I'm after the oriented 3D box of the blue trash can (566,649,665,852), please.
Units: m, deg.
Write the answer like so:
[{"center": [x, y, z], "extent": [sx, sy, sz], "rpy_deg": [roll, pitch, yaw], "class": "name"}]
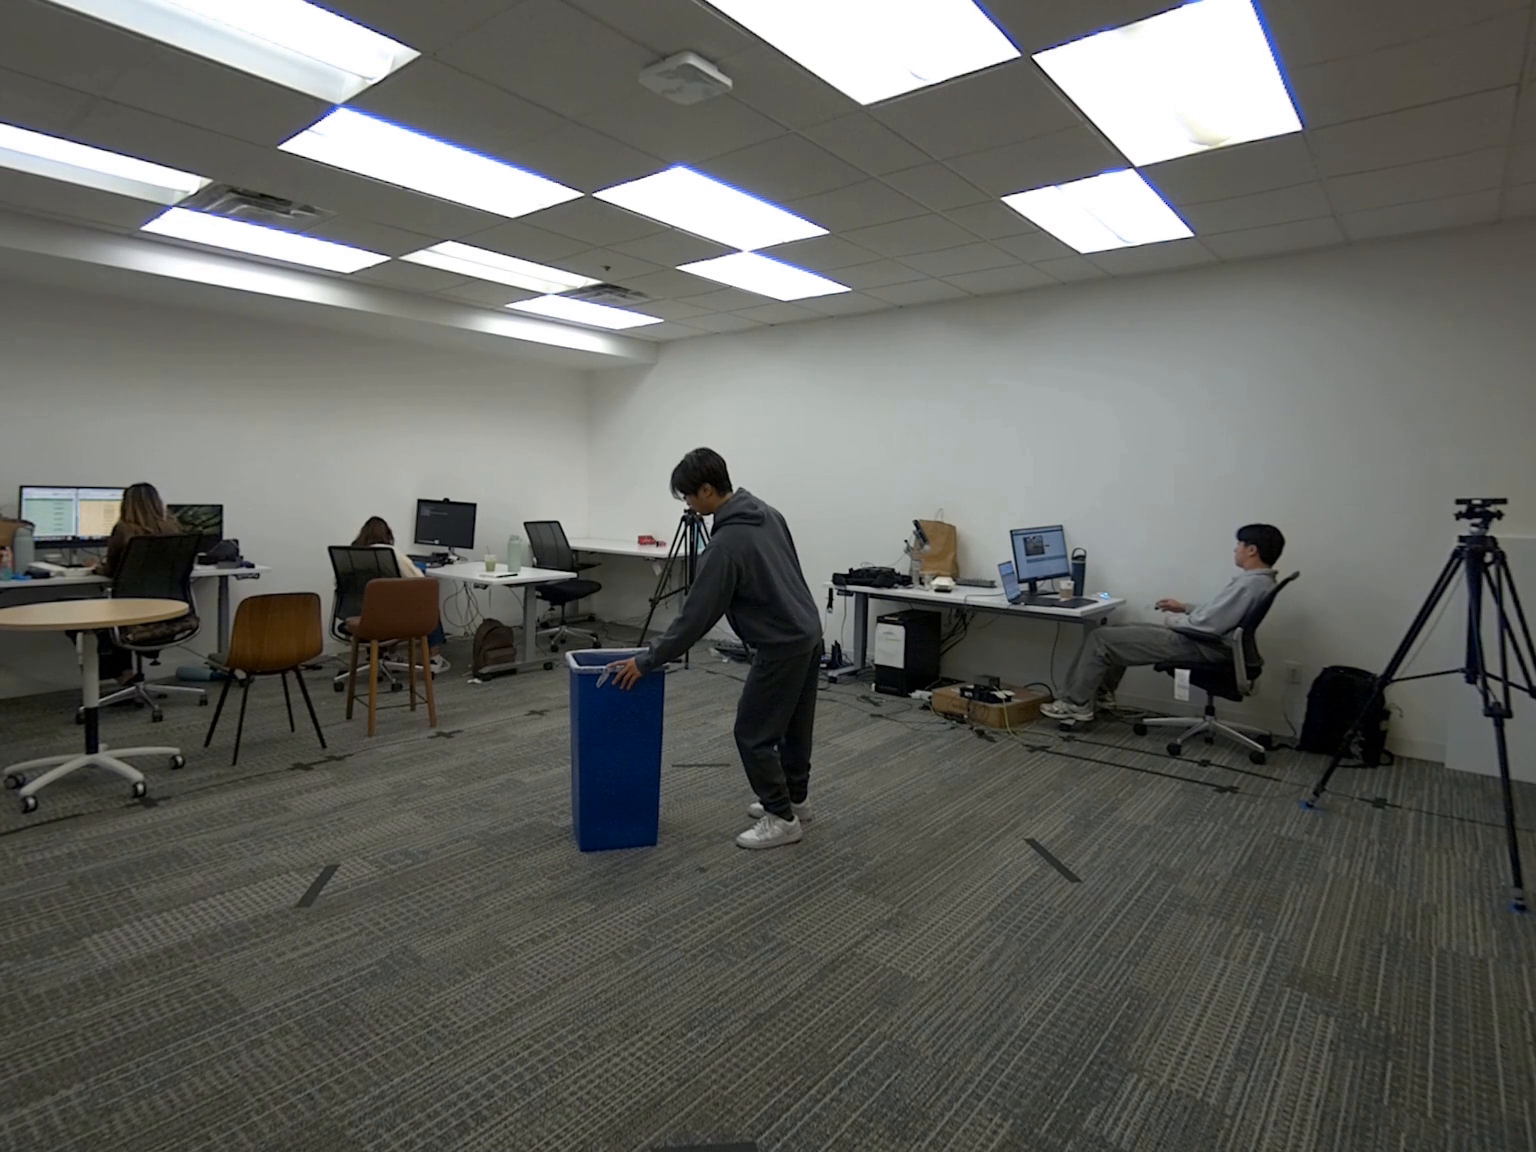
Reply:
[{"center": [-0.630, 0.680, 3.409], "extent": [0.372, 0.712, 0.381], "rpy_deg": [0, 3, -17], "class": "blue trash can"}]
